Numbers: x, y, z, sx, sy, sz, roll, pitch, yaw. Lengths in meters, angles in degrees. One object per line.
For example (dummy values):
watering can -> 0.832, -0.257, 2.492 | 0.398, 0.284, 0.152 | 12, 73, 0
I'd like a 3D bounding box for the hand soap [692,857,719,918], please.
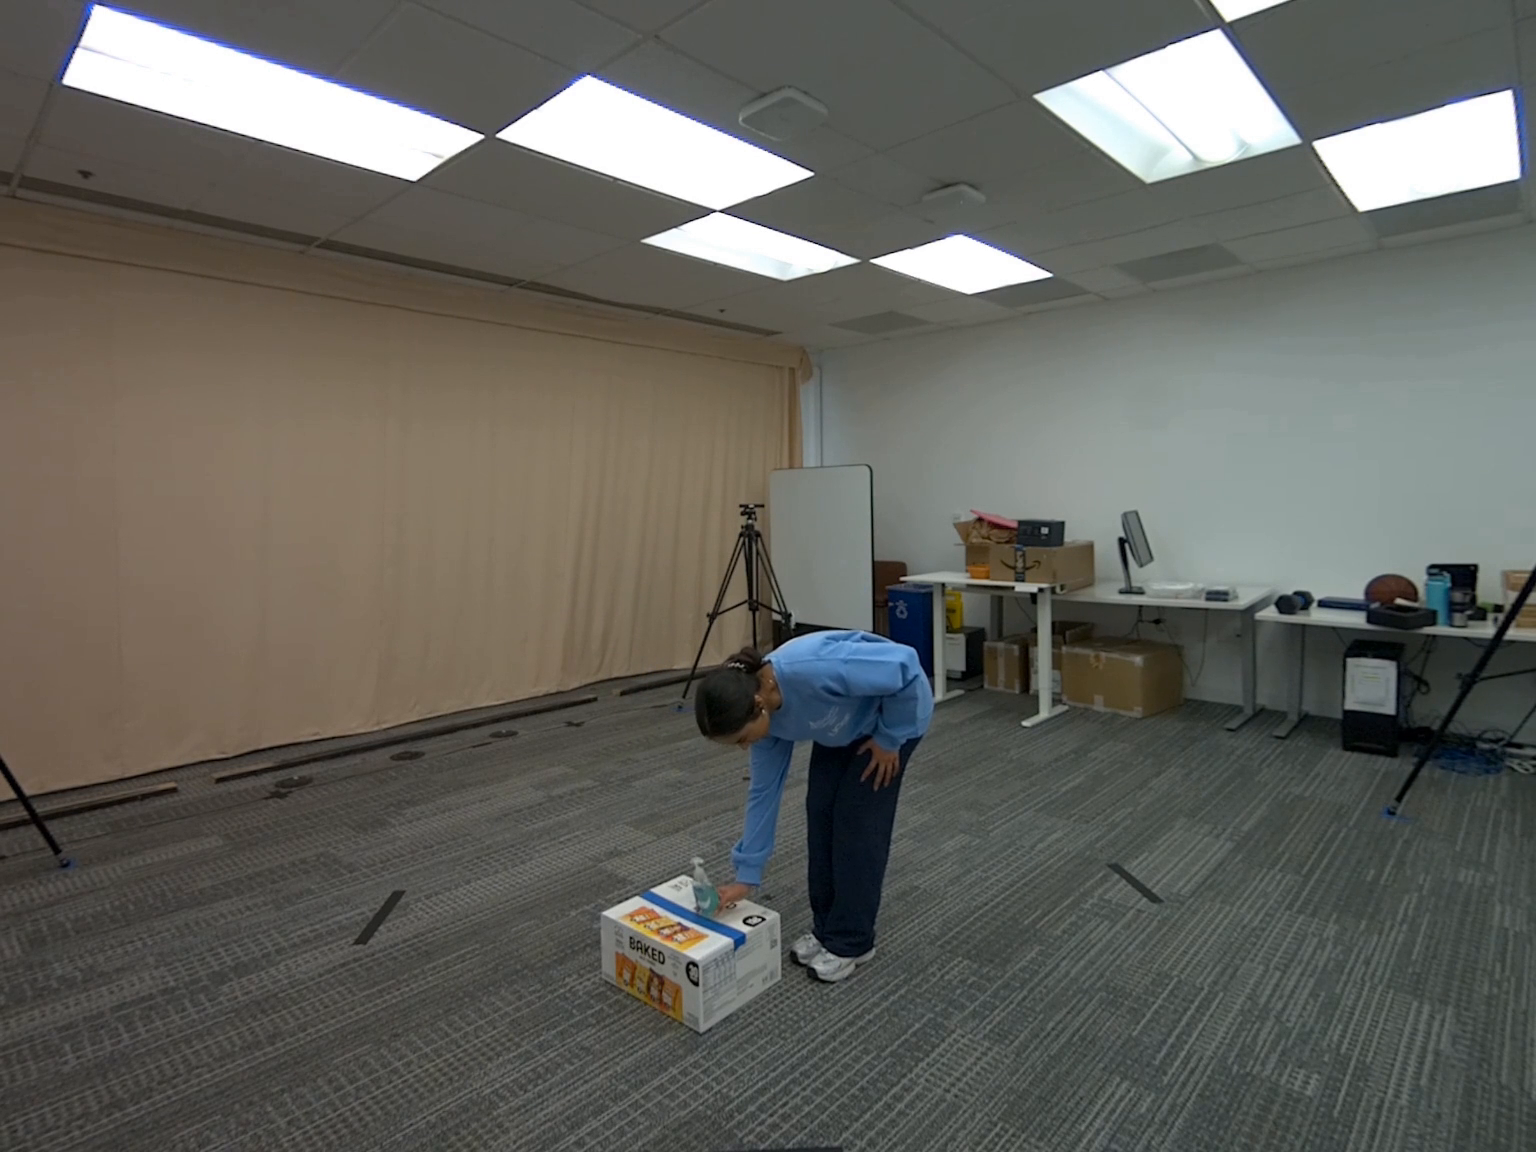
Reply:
hand soap -> -0.180, 0.900, 2.427 | 0.087, 0.167, 0.042 | -11, 5, 40
